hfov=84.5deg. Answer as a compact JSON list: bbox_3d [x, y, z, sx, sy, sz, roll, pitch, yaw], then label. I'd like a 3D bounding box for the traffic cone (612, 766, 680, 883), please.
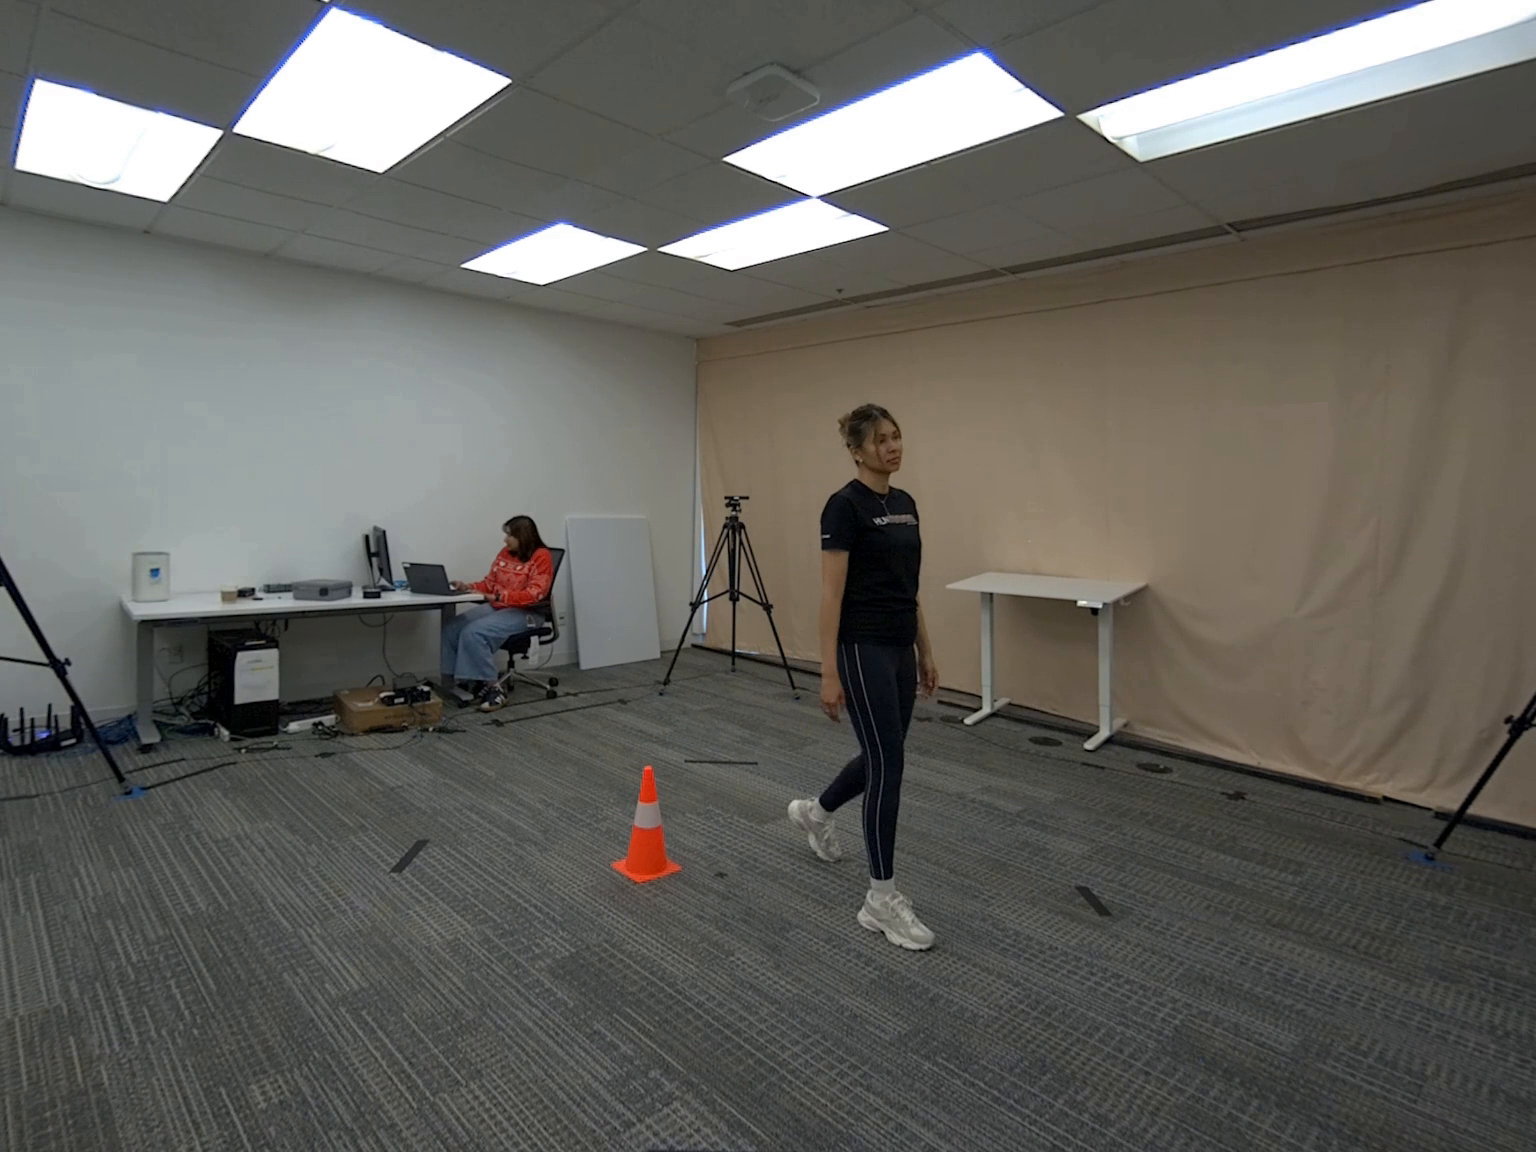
[{"bbox_3d":[-0.463,0.911,3.148,0.201,0.383,0.208,-1,4,-31],"label":"traffic cone"}]
